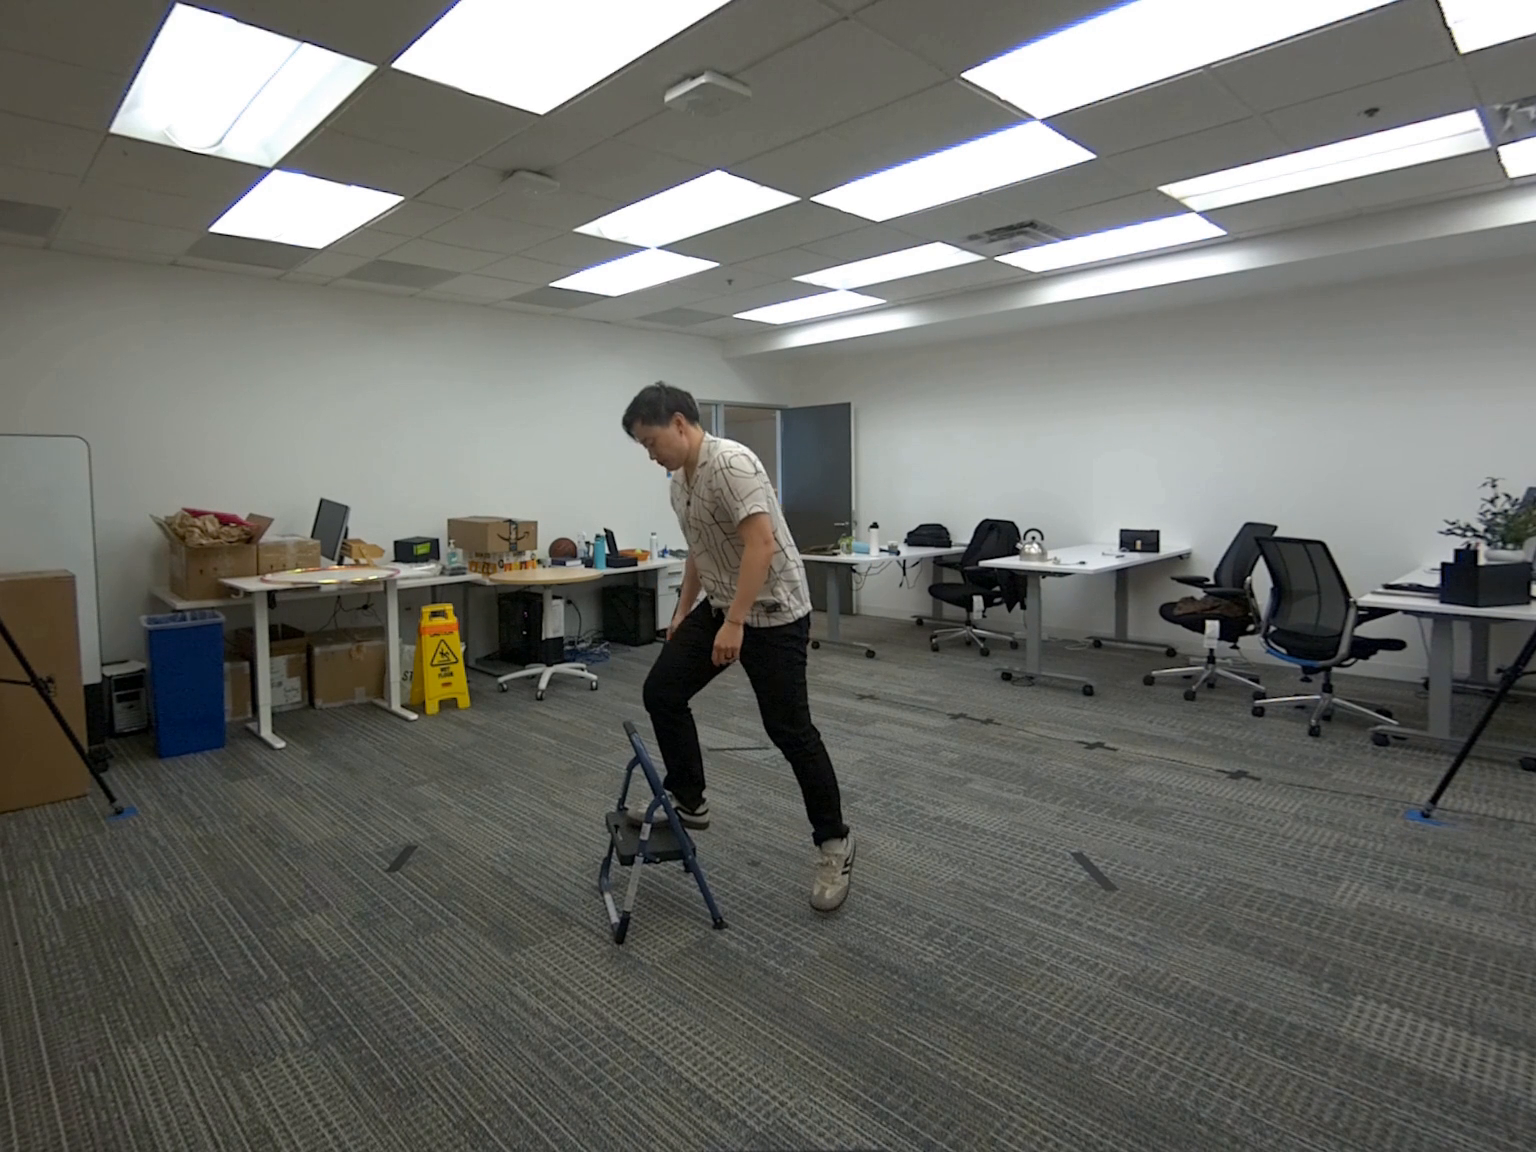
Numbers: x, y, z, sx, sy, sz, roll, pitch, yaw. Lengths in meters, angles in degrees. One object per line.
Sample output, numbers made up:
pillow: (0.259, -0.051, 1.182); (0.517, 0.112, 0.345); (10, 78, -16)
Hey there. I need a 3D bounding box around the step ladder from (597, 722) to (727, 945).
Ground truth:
step ladder: (-0.363, 0.785, 2.798); (0.344, 0.604, 0.439); (-2, 5, -18)
